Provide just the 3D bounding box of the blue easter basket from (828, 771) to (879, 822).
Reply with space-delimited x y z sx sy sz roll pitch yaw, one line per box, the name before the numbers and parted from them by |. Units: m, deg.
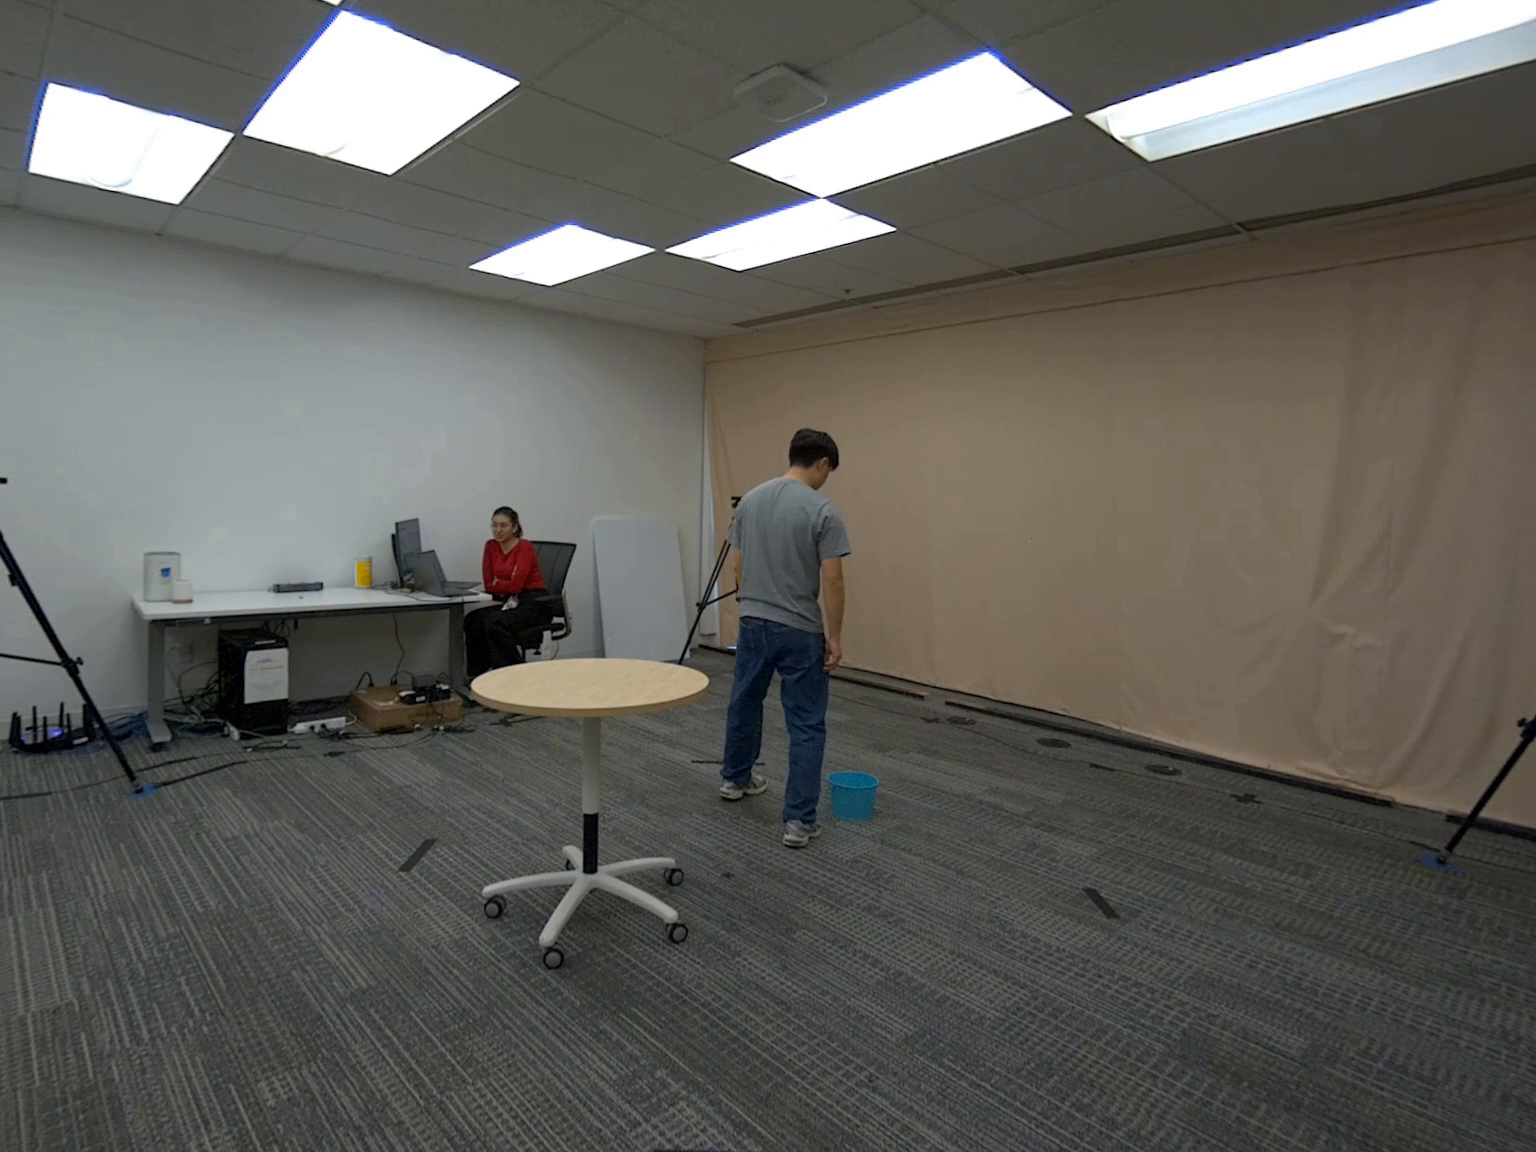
blue easter basket | 0.369 0.983 3.773 0.243 0.155 0.244 2 5 -1
